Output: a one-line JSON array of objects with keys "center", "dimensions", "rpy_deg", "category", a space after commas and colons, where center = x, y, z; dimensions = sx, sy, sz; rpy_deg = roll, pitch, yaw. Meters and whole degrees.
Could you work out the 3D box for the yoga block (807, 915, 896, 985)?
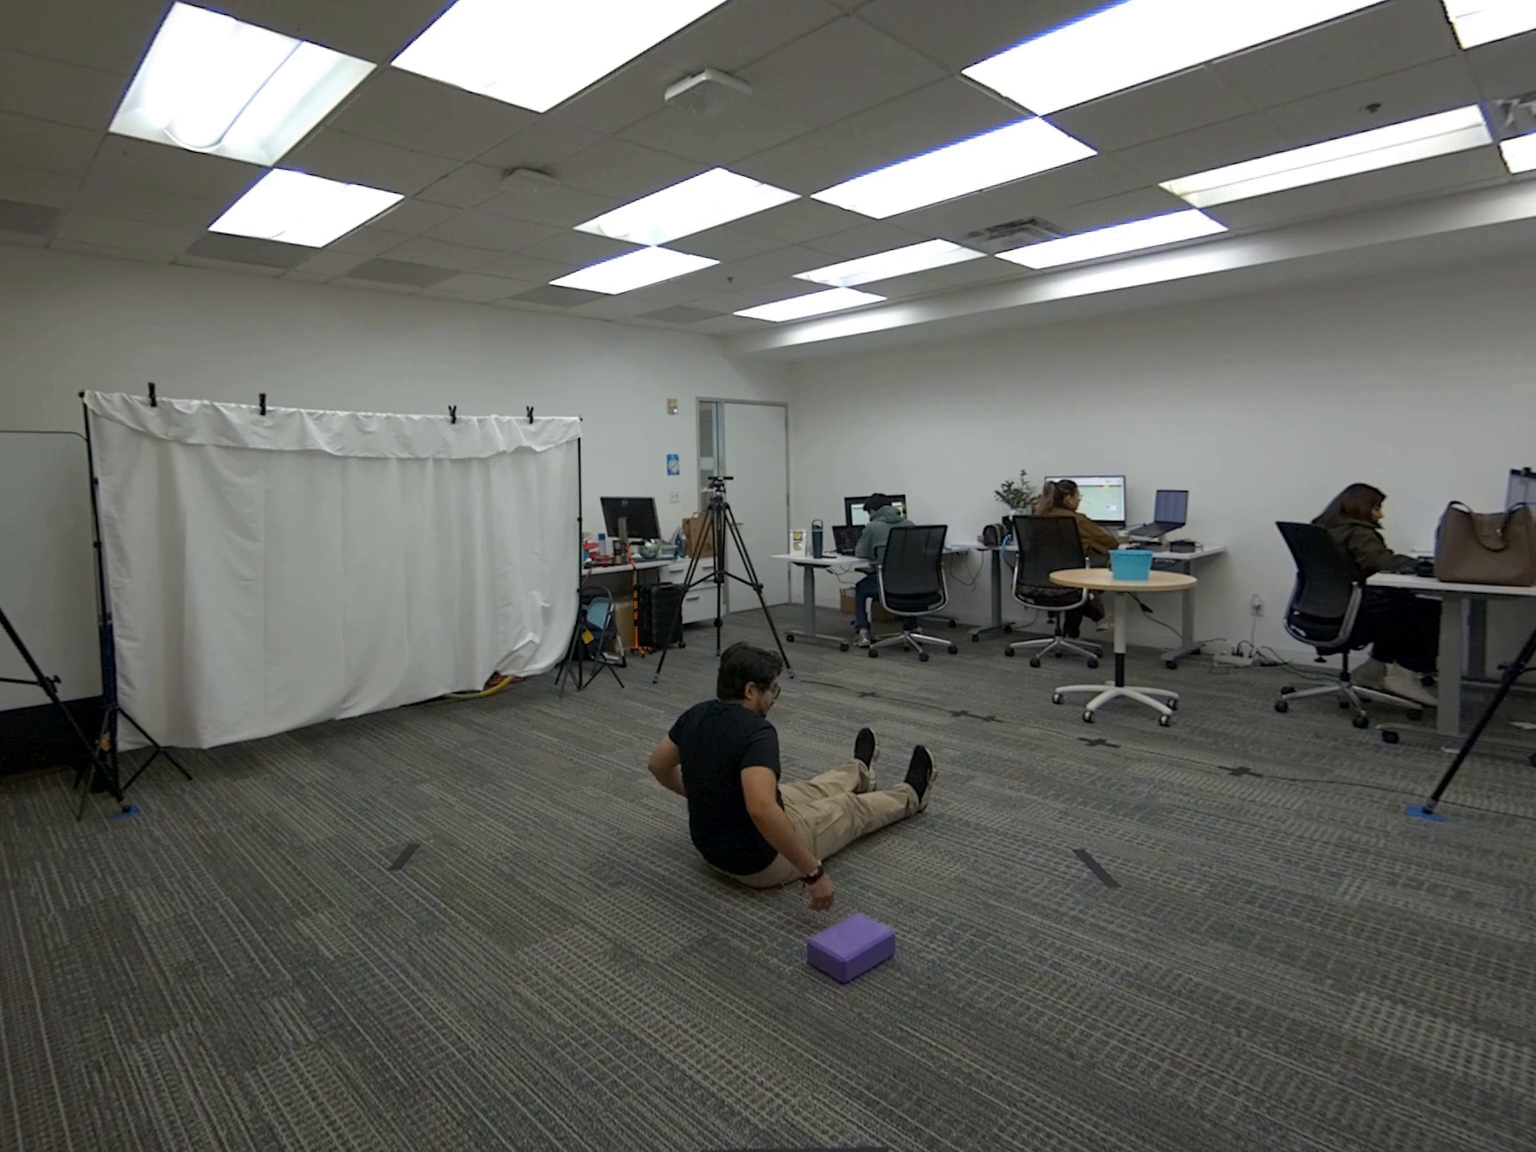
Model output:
[{"center": [0.248, 1.068, 2.461], "dimensions": [0.223, 0.076, 0.154], "rpy_deg": [-7, 9, -42], "category": "yoga block"}]
